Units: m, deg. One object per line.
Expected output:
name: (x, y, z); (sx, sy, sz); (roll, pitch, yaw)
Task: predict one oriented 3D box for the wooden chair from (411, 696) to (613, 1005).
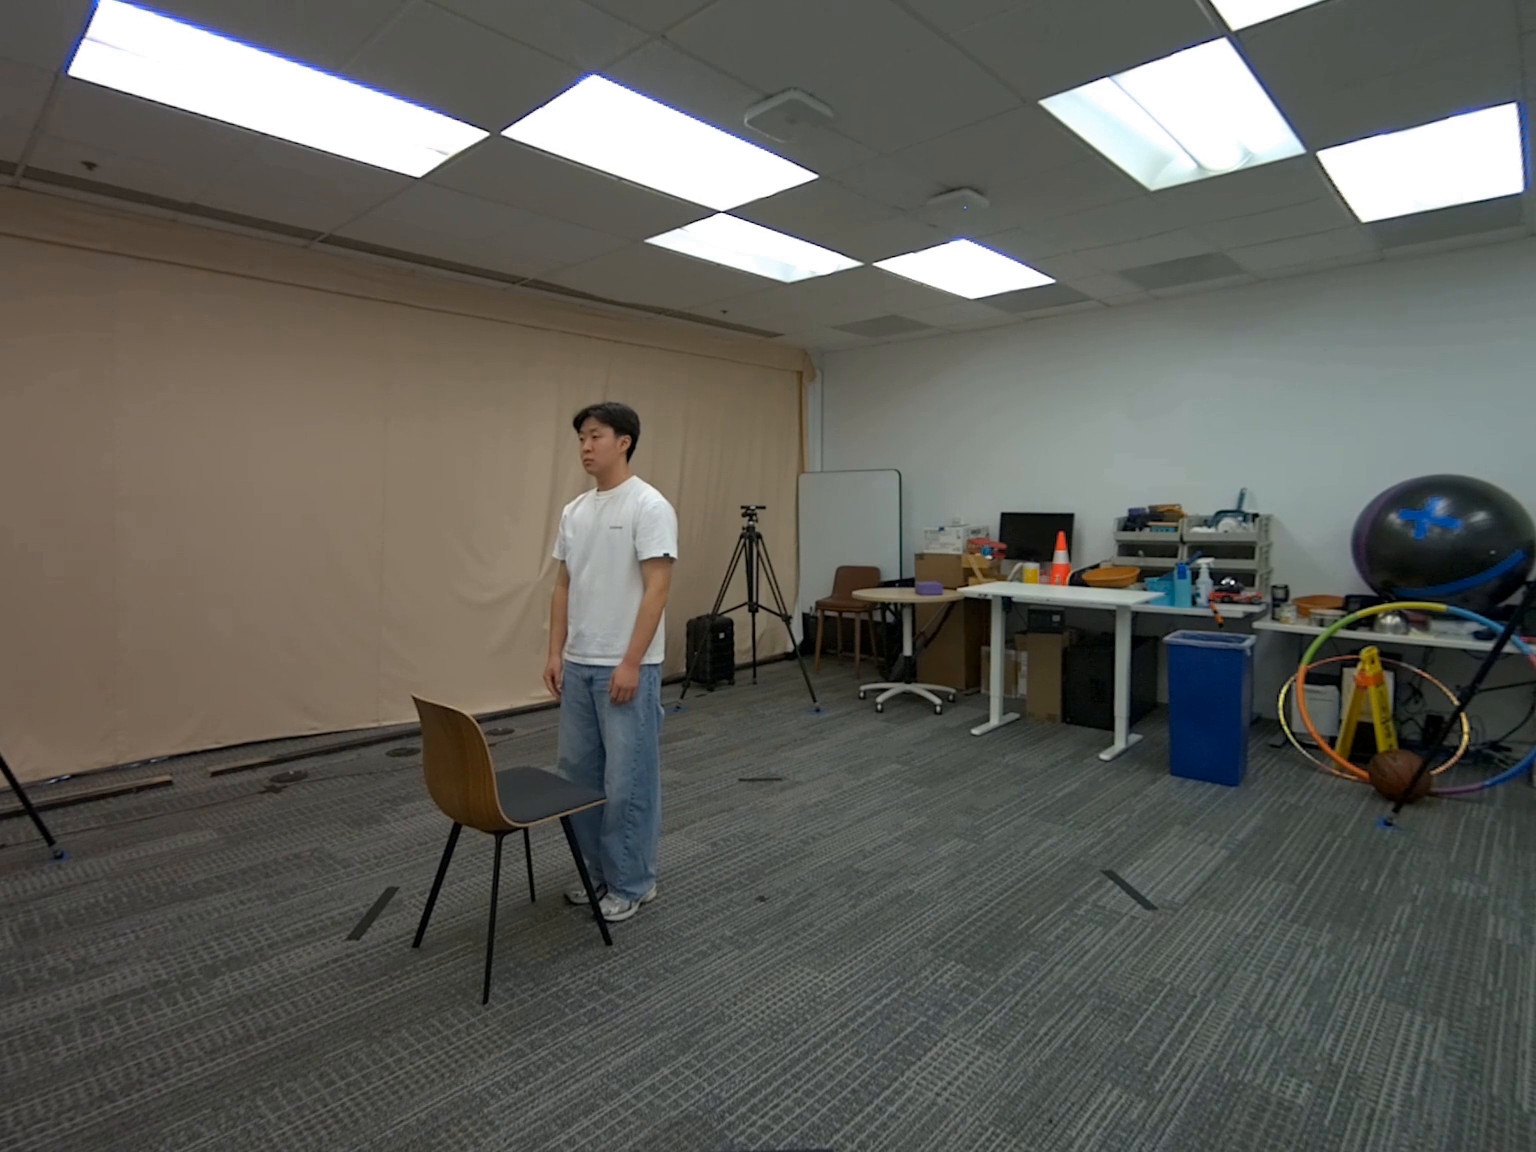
wooden chair: (-0.813, 0.751, 2.648); (0.494, 0.874, 0.508); (2, 8, 44)
